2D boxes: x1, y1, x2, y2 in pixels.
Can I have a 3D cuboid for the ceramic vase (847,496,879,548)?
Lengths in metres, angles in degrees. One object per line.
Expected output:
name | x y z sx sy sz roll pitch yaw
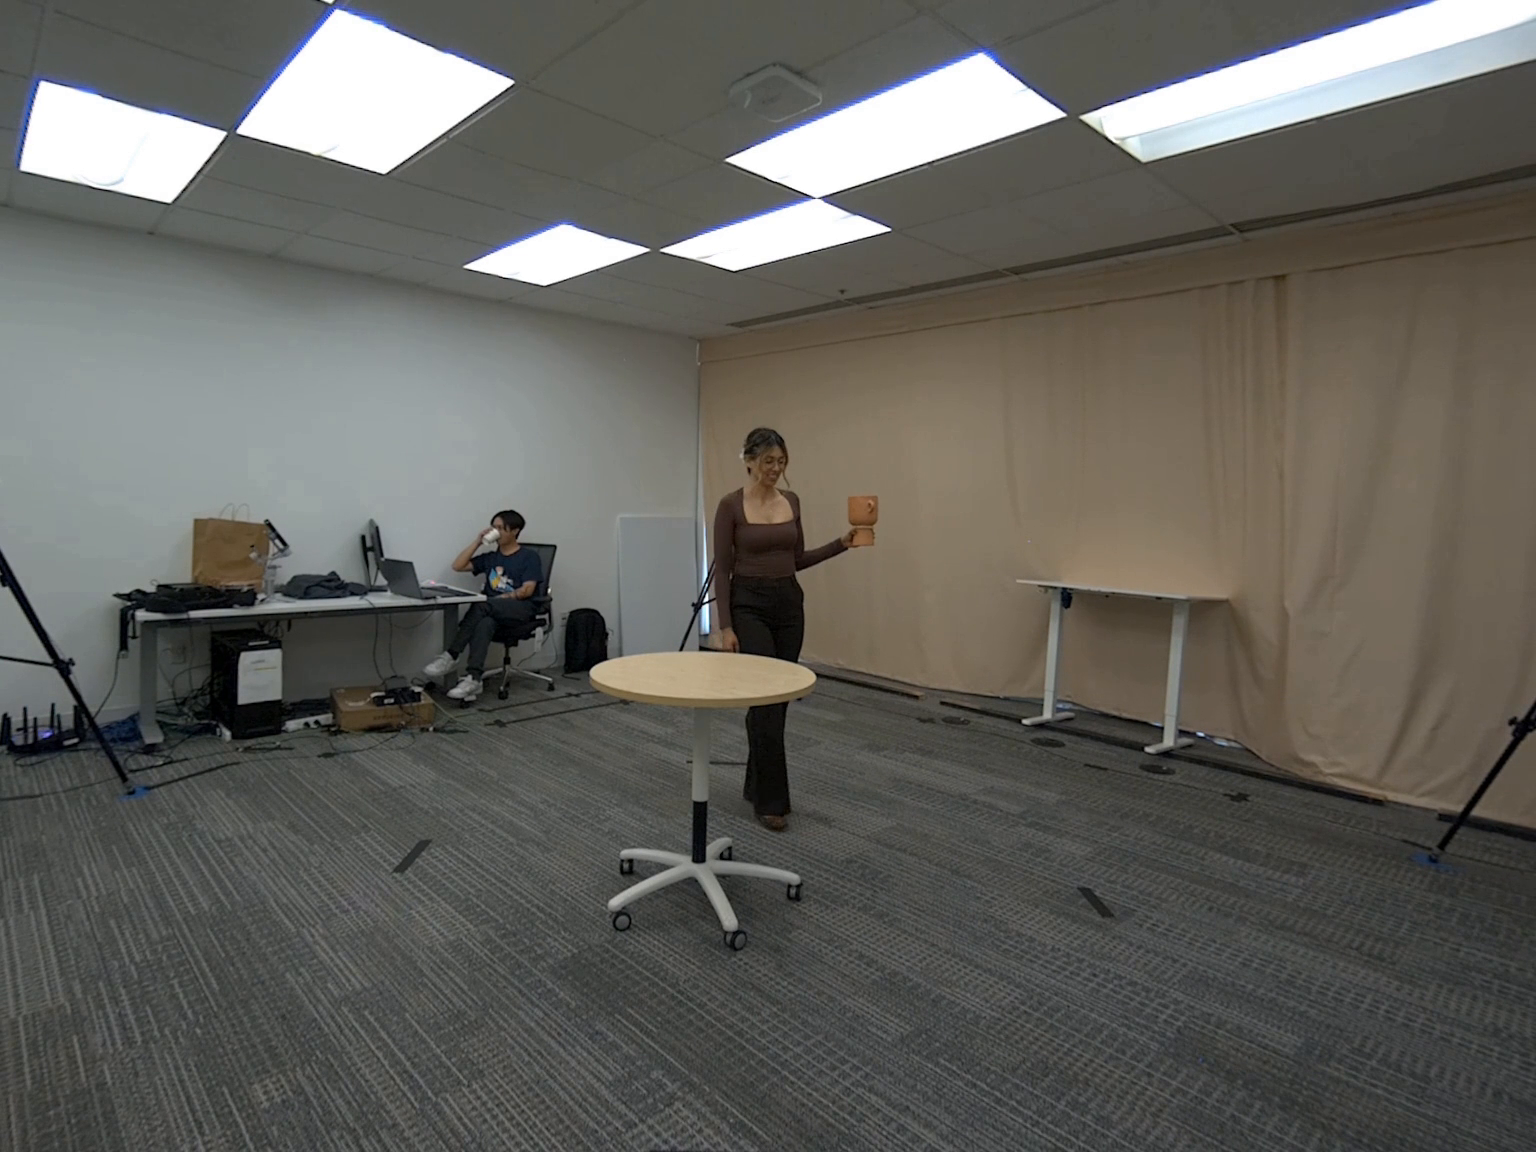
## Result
ceramic vase | 0.404 -0.247 3.746 0.136 0.220 0.157 -2 0 16
